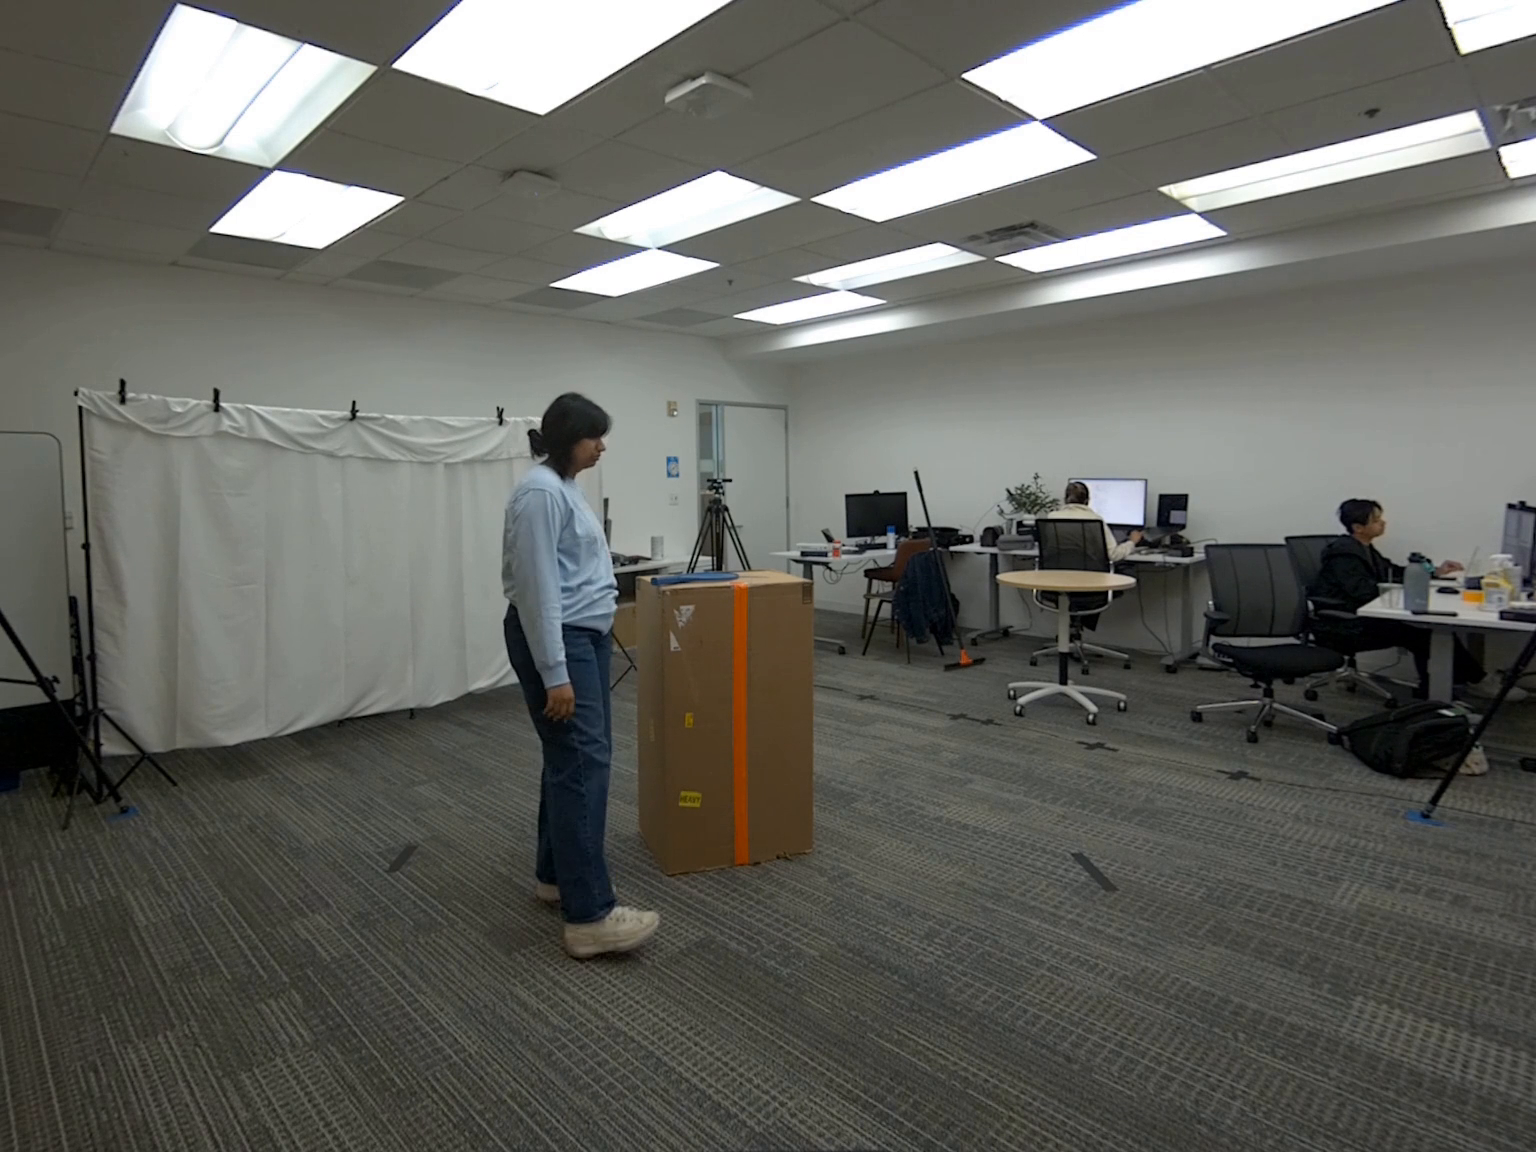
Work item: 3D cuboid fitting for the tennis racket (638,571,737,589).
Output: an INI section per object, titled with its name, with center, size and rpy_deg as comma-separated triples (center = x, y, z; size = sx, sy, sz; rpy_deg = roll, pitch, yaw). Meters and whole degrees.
[tennis racket]
center = -0.262, 0.009, 3.182
size = 0.220, 0.031, 0.422
rpy_deg = 4, 6, 35
